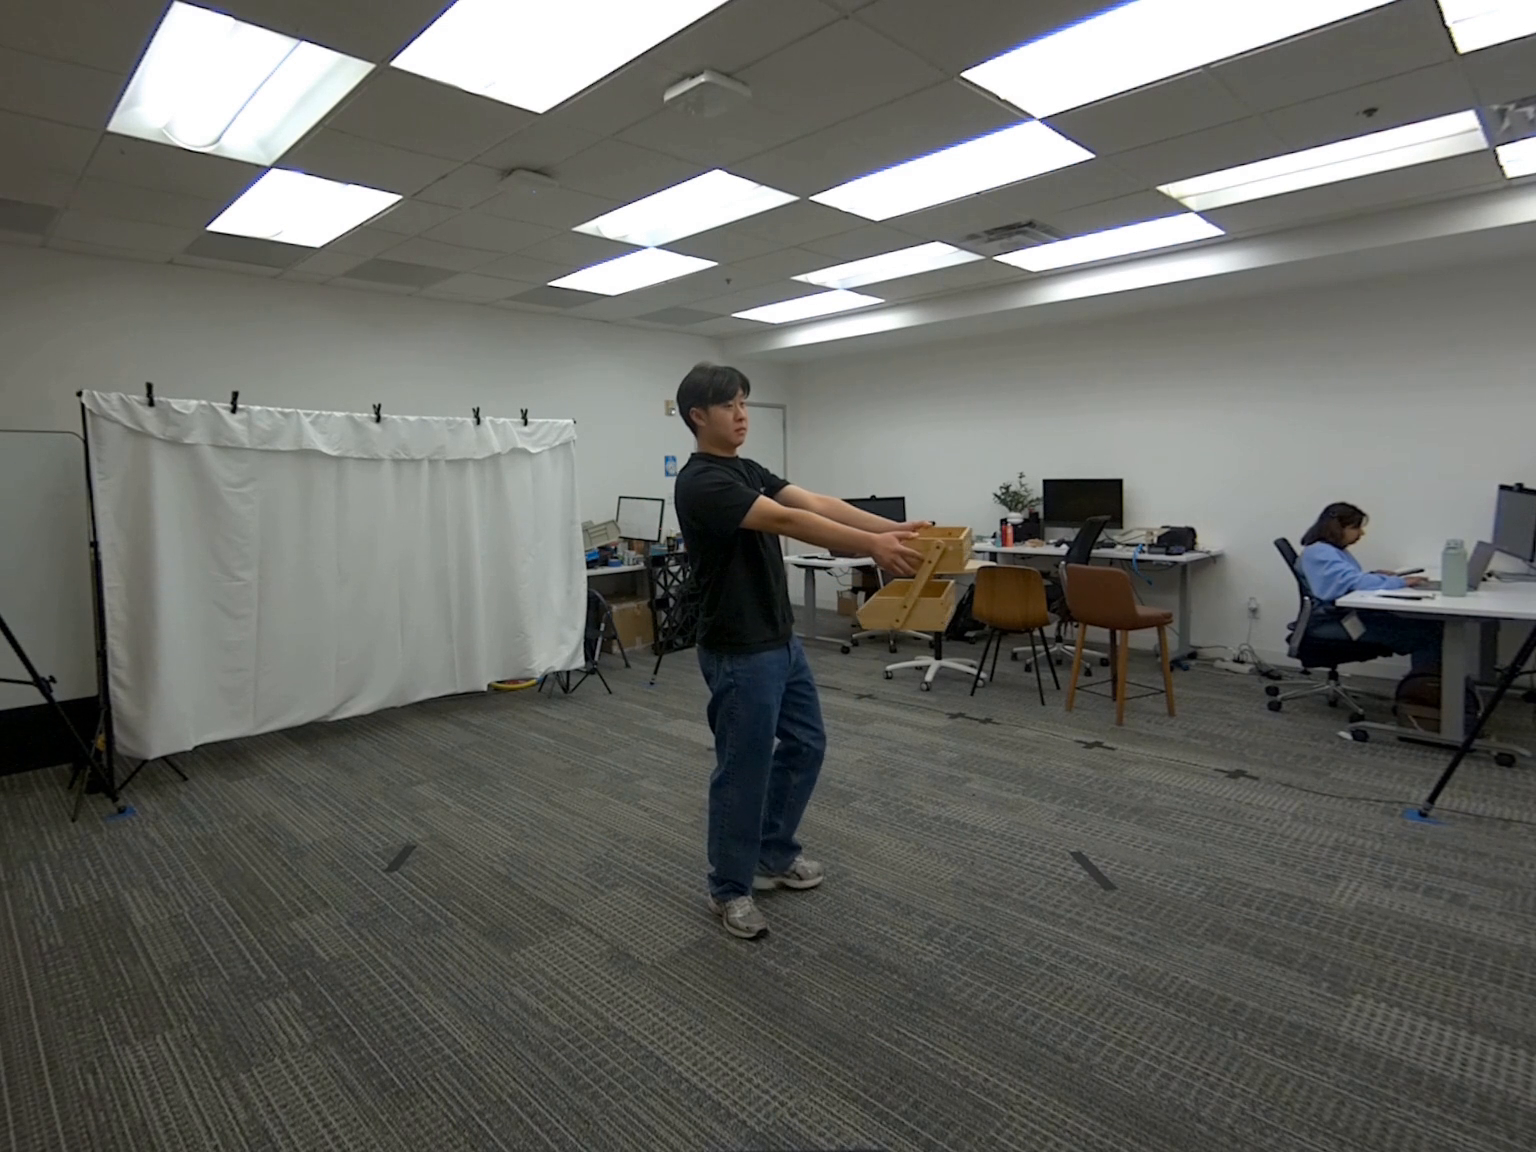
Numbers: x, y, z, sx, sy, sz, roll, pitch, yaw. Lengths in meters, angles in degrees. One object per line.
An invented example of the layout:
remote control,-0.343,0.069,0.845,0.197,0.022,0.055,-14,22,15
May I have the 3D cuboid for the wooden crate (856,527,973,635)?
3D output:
wooden crate,0.428,-0.003,2.531,0.307,0.271,0.321,0,9,19
